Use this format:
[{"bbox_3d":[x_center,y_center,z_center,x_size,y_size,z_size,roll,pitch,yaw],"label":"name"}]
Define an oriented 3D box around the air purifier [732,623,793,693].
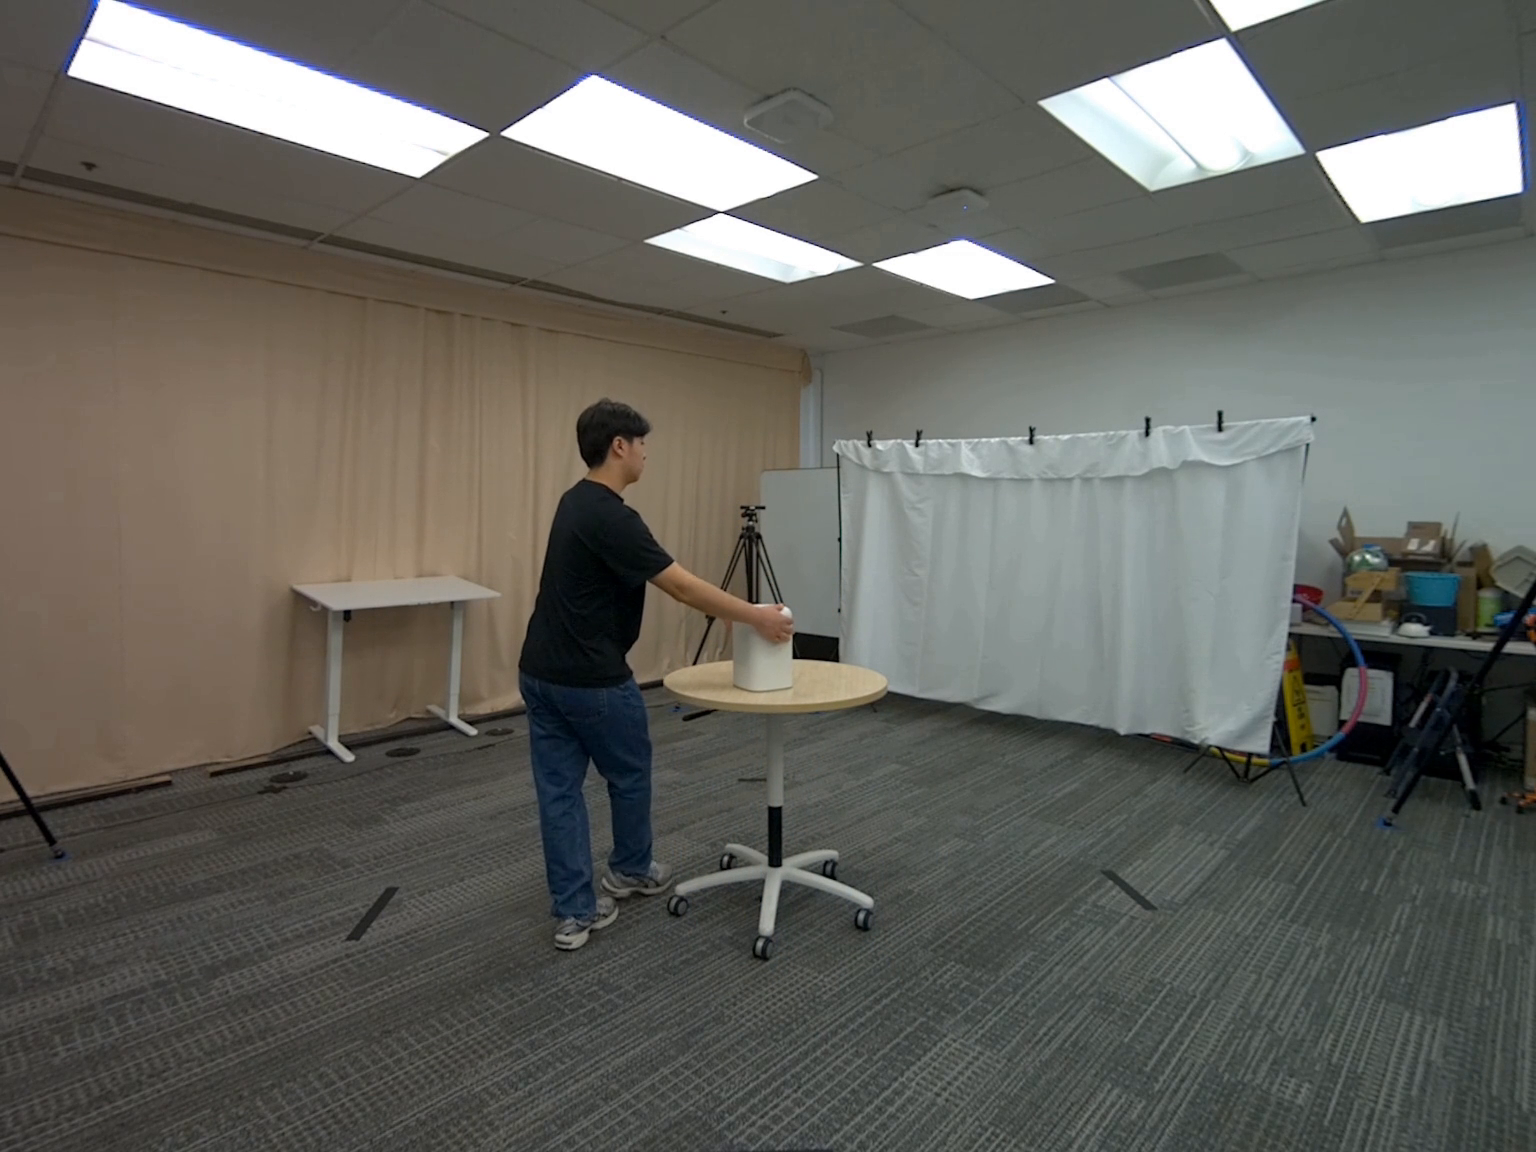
[{"bbox_3d":[-0.013,0.234,2.772,0.167,0.265,0.176,-1,3,-27],"label":"air purifier"}]
